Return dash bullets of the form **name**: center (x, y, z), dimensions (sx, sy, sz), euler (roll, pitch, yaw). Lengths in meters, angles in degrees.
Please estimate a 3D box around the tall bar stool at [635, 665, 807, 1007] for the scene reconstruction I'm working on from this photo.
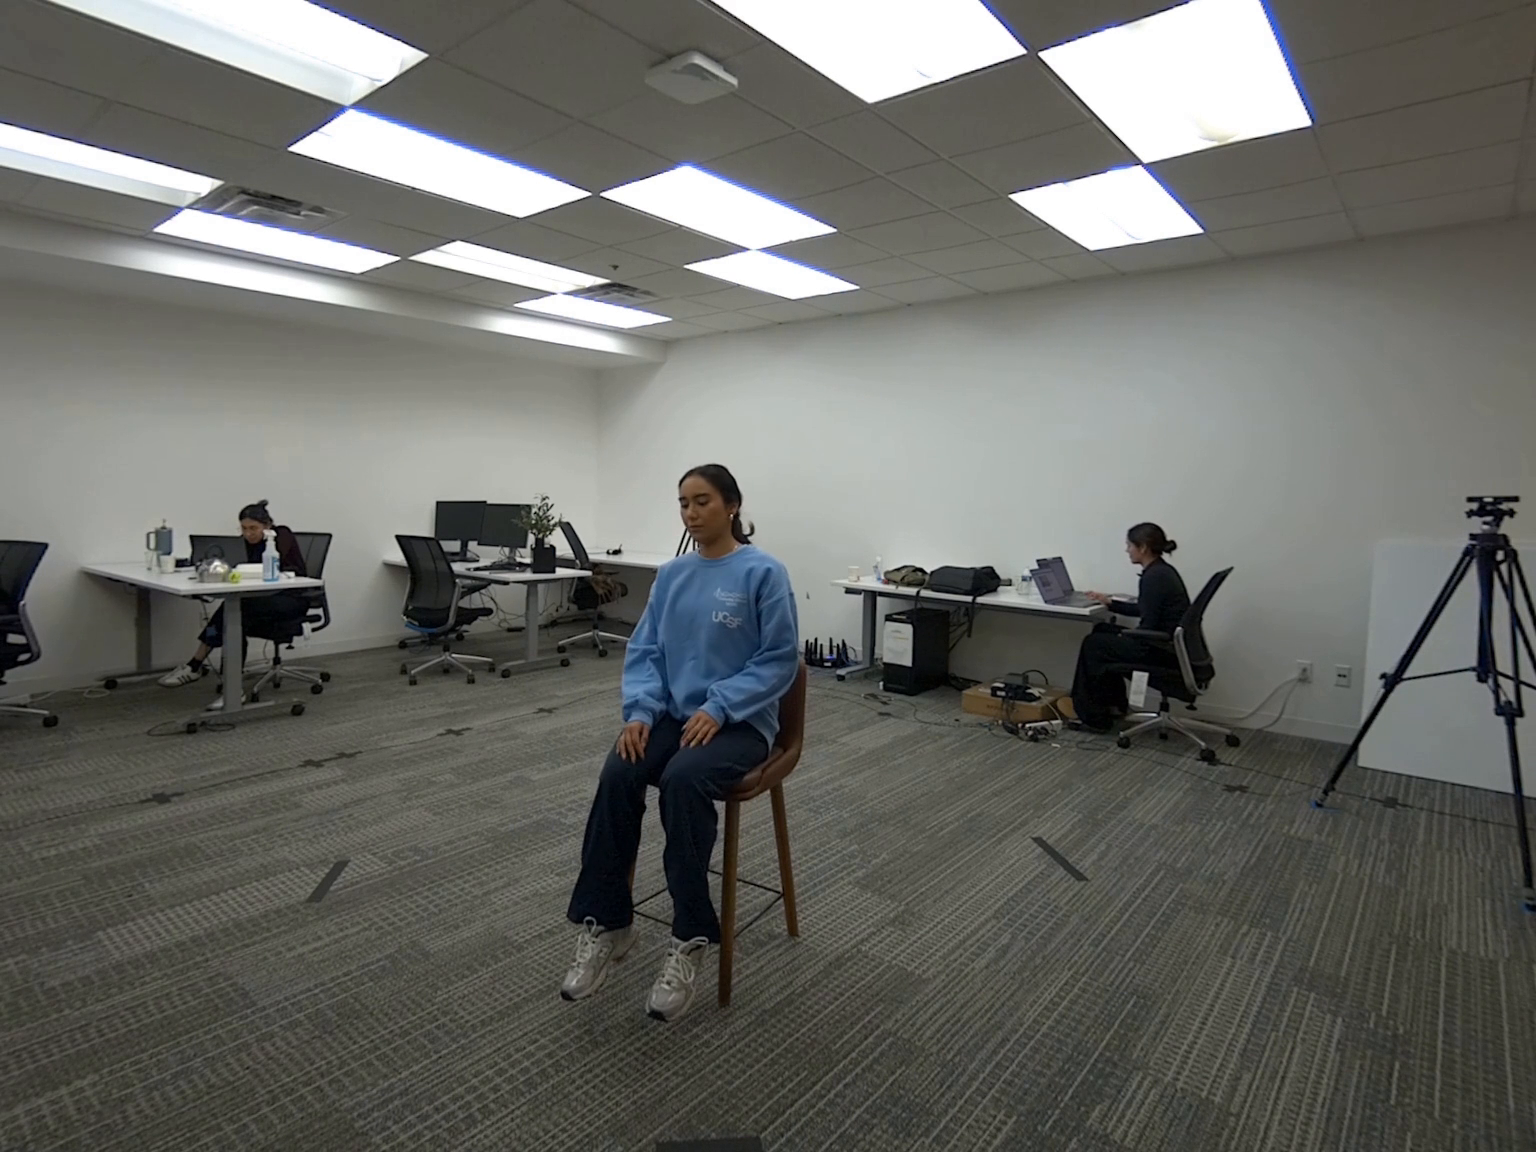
- **tall bar stool**: center (-0.169, 0.684, 2.559), dimensions (0.470, 0.888, 0.454), euler (3, 2, 32)
